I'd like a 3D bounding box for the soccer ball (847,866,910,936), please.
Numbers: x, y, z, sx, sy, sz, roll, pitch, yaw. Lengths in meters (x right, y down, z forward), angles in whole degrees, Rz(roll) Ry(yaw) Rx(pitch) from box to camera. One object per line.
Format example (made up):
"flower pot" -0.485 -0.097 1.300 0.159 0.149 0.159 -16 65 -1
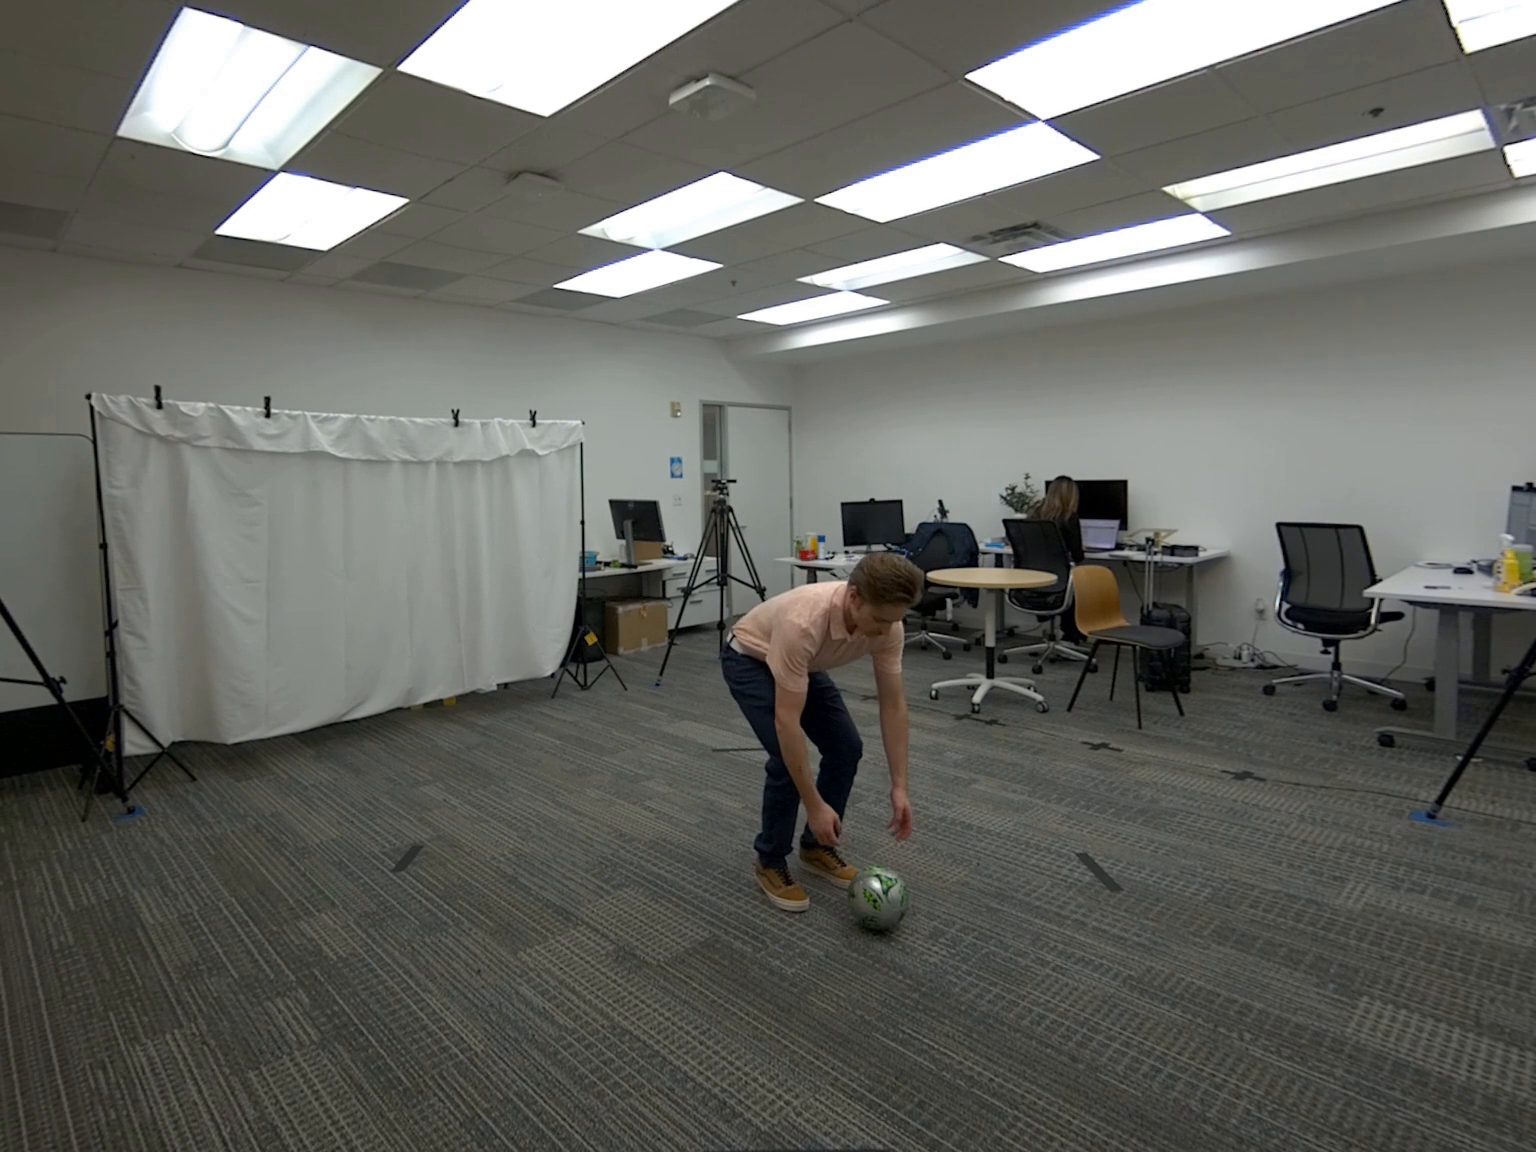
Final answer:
"soccer ball" 0.344 0.997 2.653 0.187 0.187 0.188 -1 5 -2
